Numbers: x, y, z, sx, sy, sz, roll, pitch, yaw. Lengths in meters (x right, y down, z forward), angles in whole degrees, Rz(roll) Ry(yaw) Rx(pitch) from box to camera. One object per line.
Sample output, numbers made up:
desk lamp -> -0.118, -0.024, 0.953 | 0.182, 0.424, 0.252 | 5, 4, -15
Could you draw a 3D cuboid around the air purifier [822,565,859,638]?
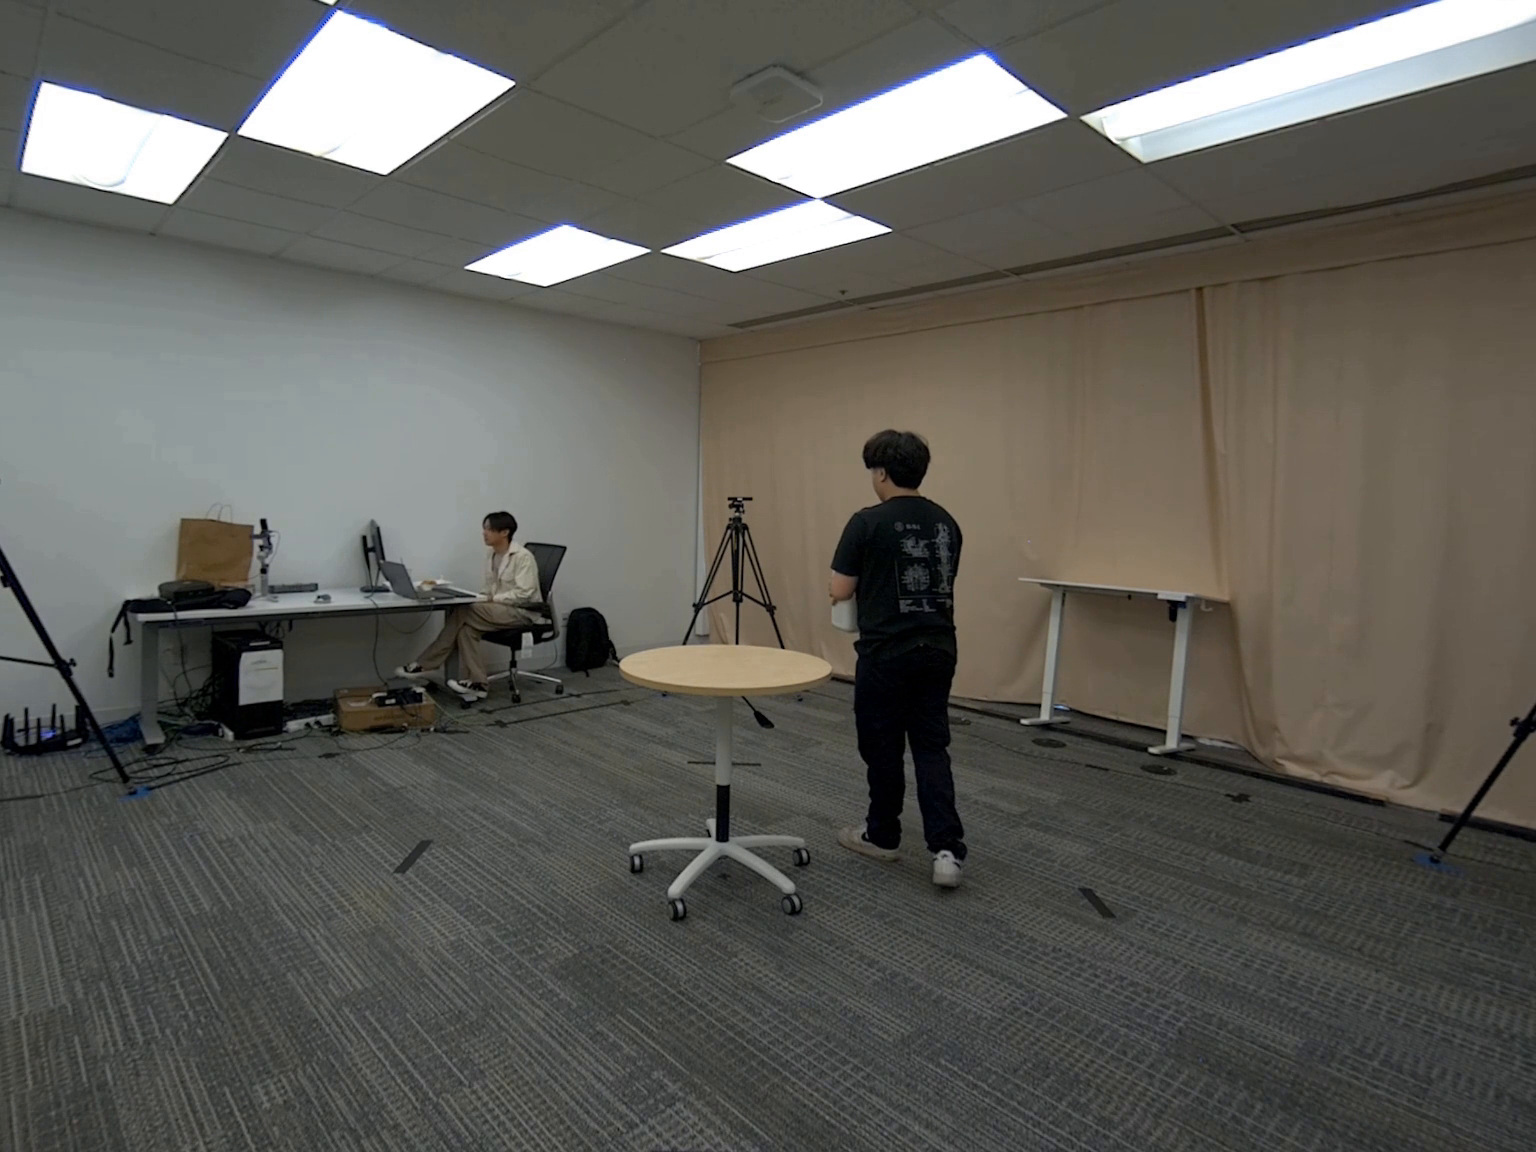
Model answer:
air purifier -> 0.354, 0.100, 3.552 | 0.168, 0.264, 0.176 | 0, 10, -26
